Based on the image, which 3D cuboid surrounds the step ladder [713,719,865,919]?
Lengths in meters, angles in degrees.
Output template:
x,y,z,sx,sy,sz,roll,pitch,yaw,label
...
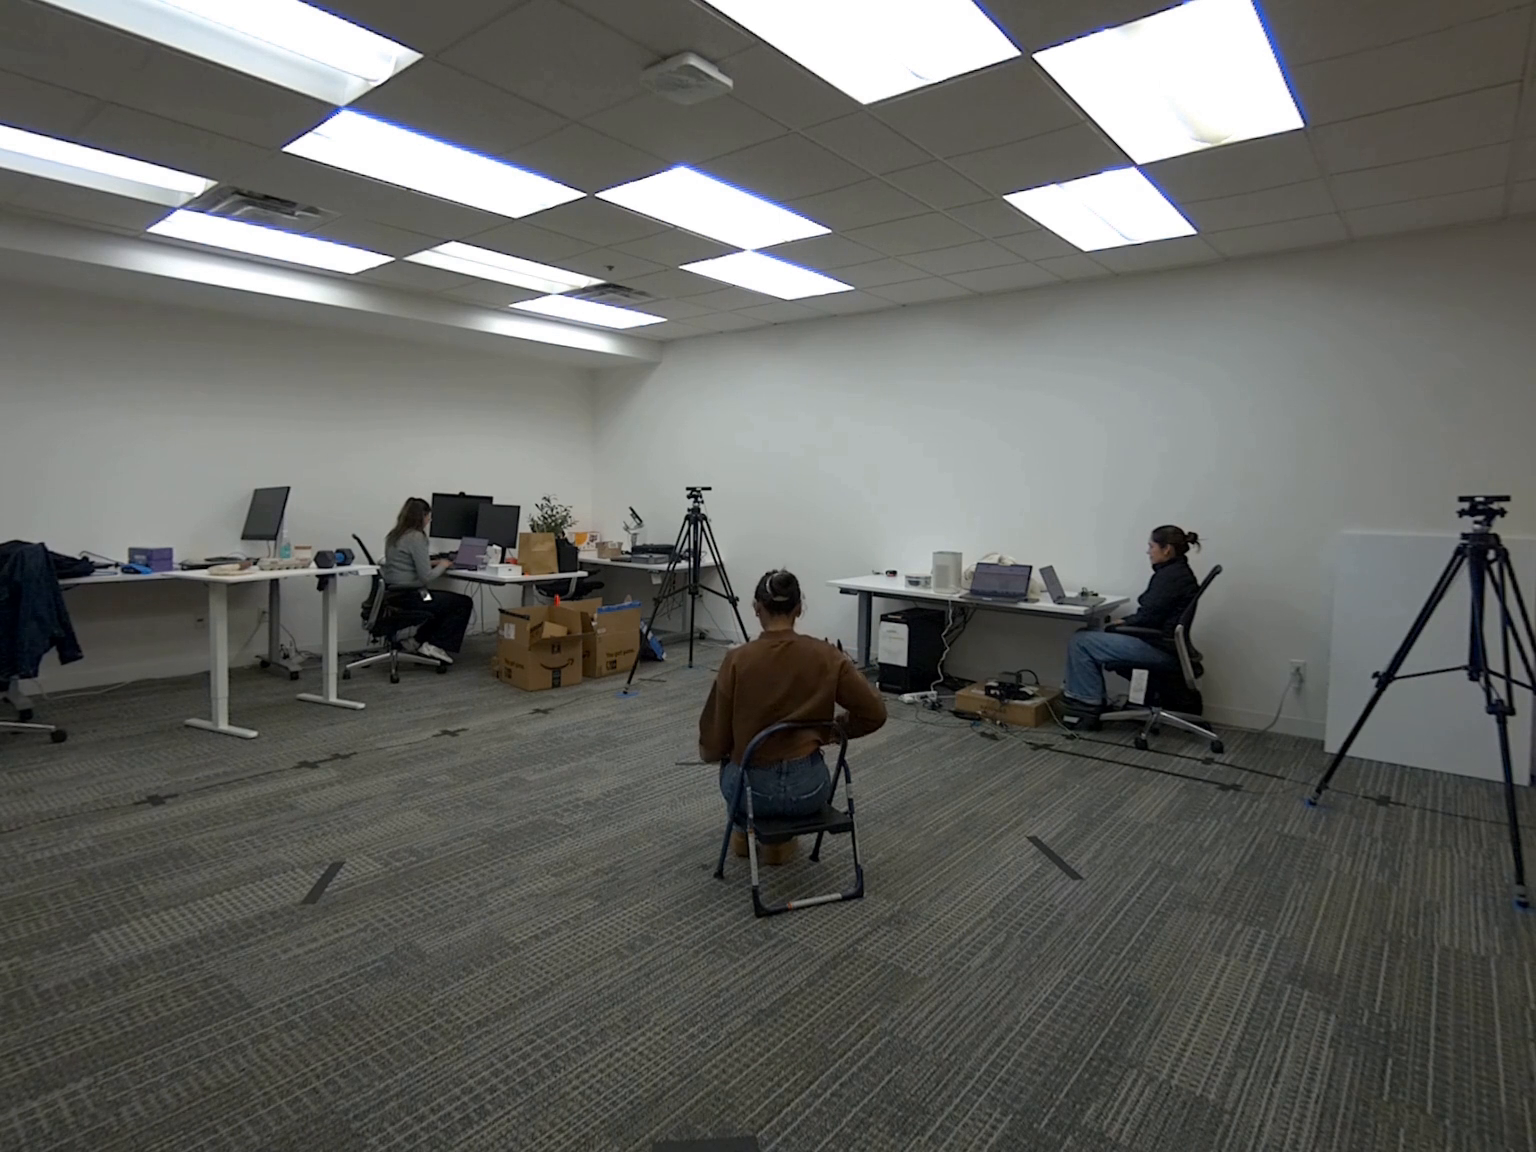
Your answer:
x,y,z,sx,sy,sz,roll,pitch,yaw,label
0.067,0.787,2.968,0.420,0.604,0.359,-1,3,-26,step ladder
